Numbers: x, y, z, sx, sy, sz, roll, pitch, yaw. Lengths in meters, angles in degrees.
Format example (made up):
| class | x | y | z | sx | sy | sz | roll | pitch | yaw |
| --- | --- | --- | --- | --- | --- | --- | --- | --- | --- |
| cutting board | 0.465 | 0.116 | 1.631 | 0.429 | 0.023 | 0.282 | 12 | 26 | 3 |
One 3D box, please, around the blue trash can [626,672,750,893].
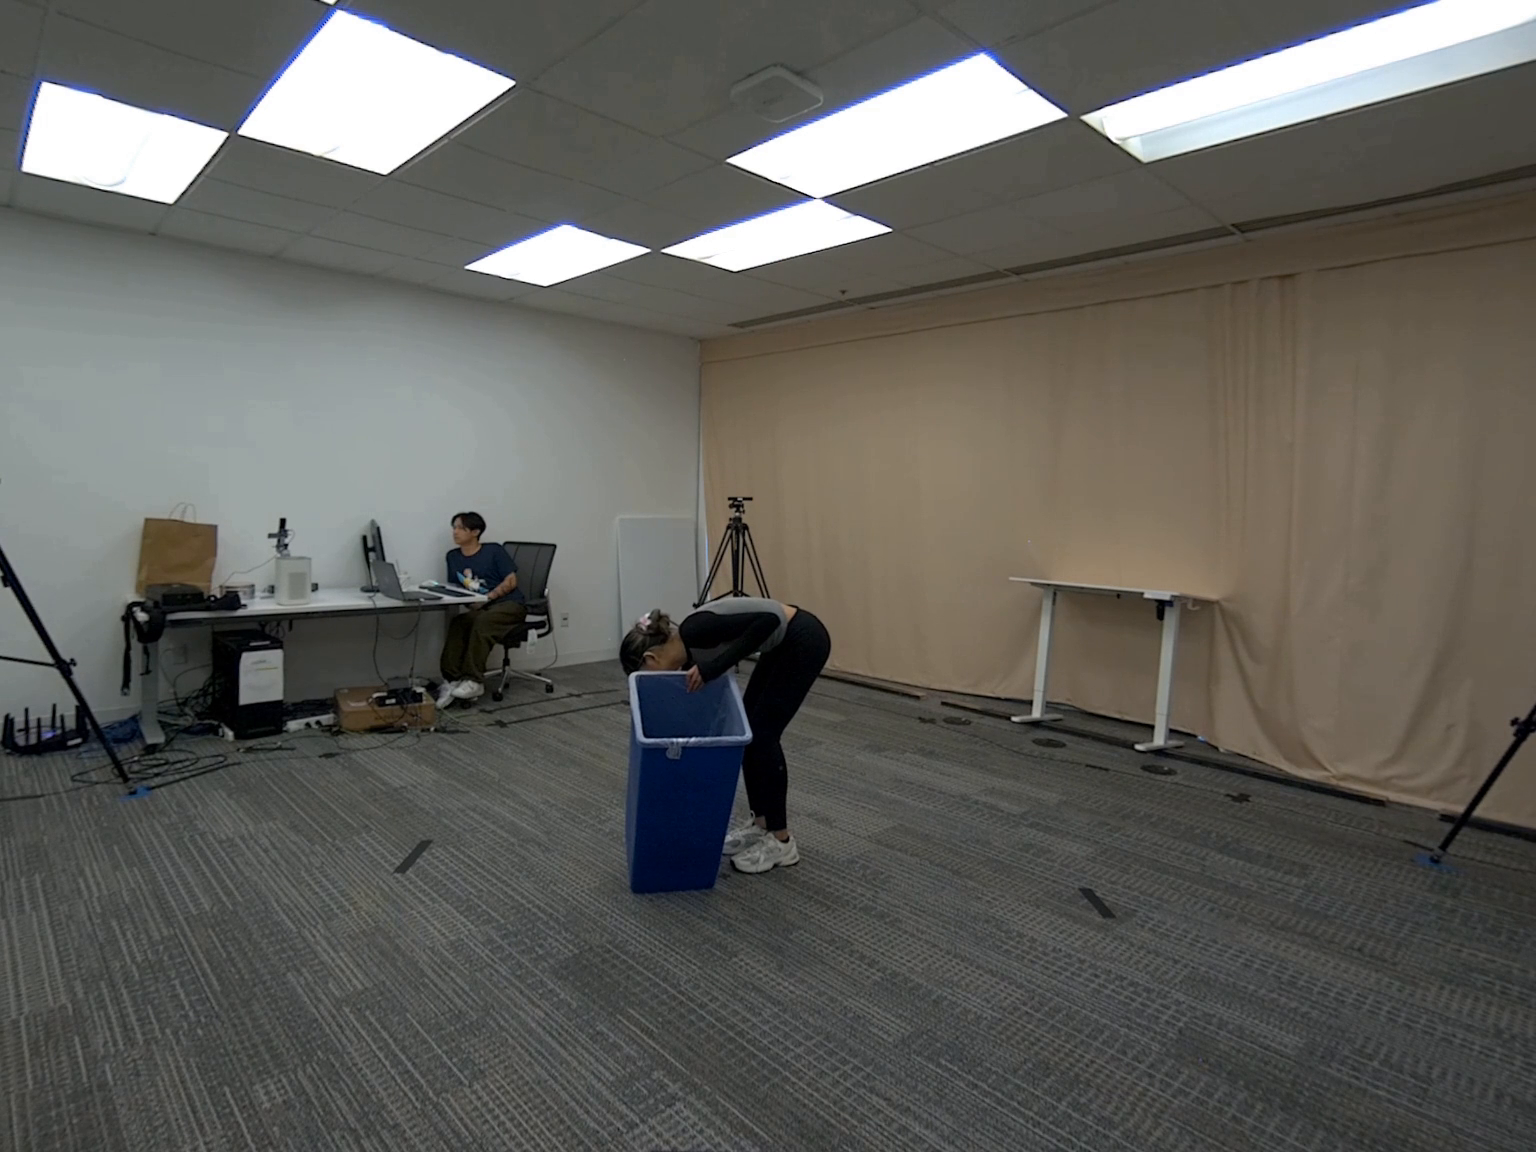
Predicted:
| class | x | y | z | sx | sy | sz | roll | pitch | yaw |
| --- | --- | --- | --- | --- | --- | --- | --- | --- | --- |
| blue trash can | -0.325 | 0.728 | 2.942 | 0.374 | 0.703 | 0.384 | 2 | 29 | -15 |
